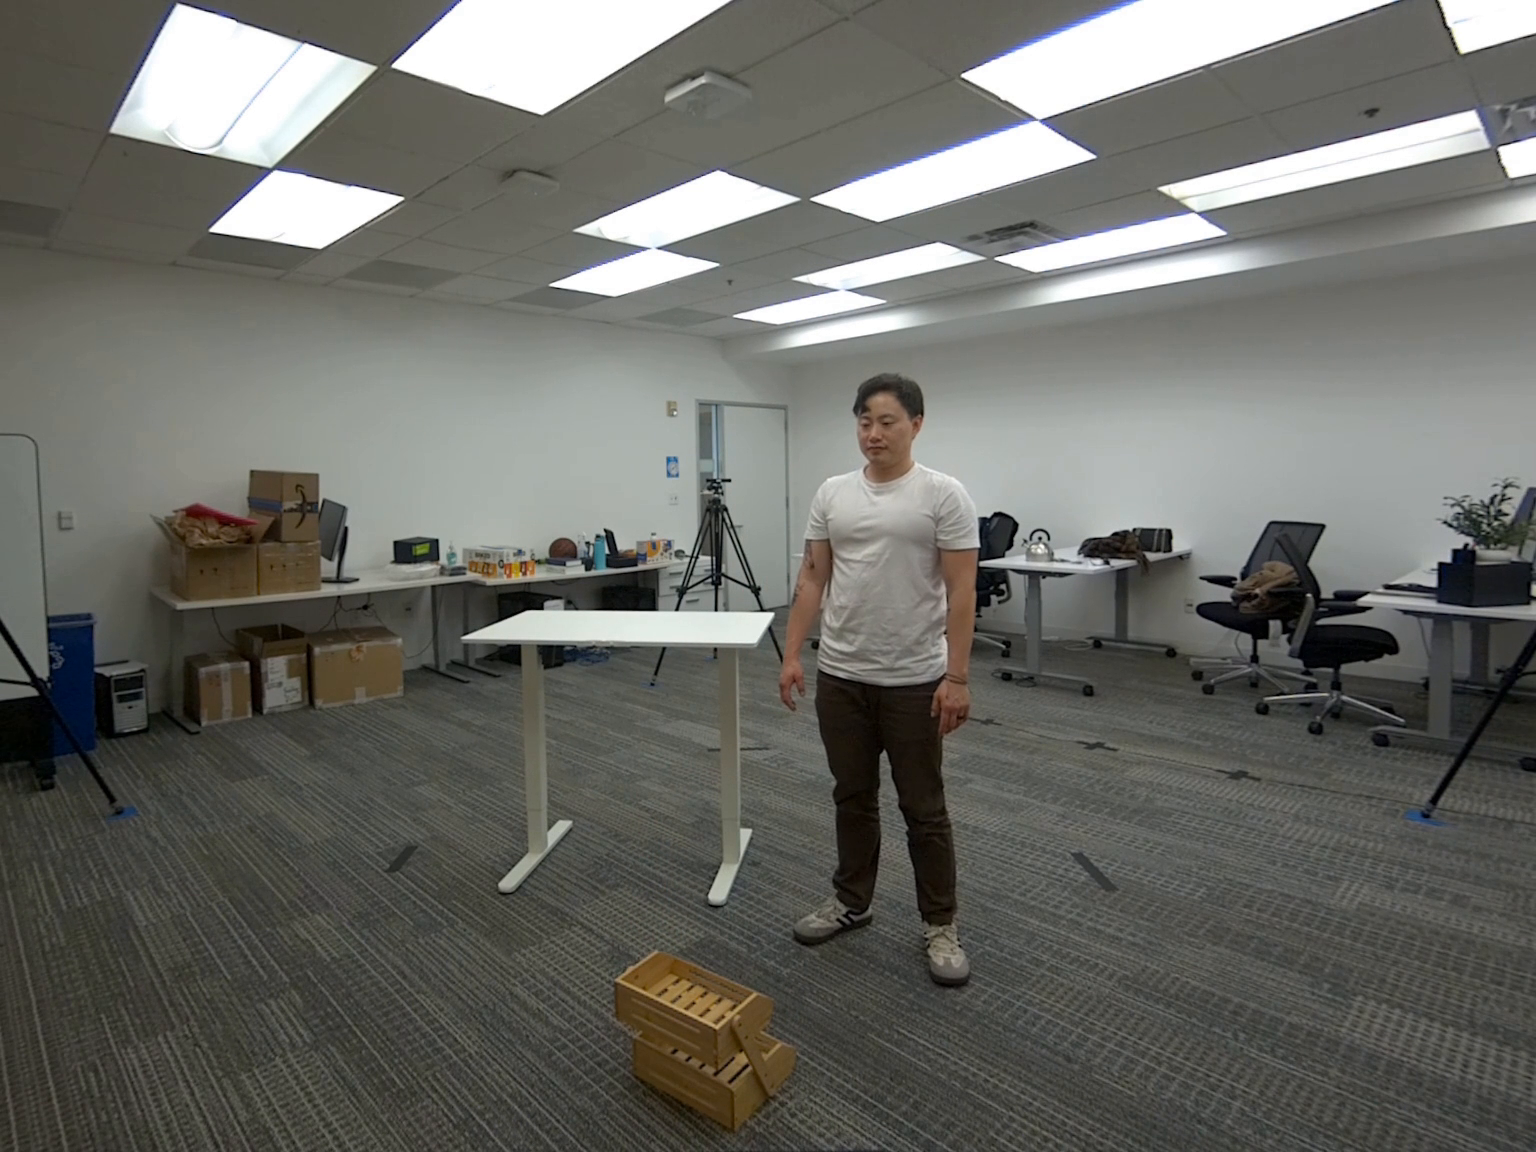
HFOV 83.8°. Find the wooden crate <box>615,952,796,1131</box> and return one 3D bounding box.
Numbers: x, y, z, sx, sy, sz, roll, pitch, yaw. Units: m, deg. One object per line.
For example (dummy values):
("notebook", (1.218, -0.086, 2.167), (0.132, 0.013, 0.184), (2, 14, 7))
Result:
("wooden crate", (-0.134, 1.041, 1.997), (0.334, 0.272, 0.295), (3, 8, 36))
